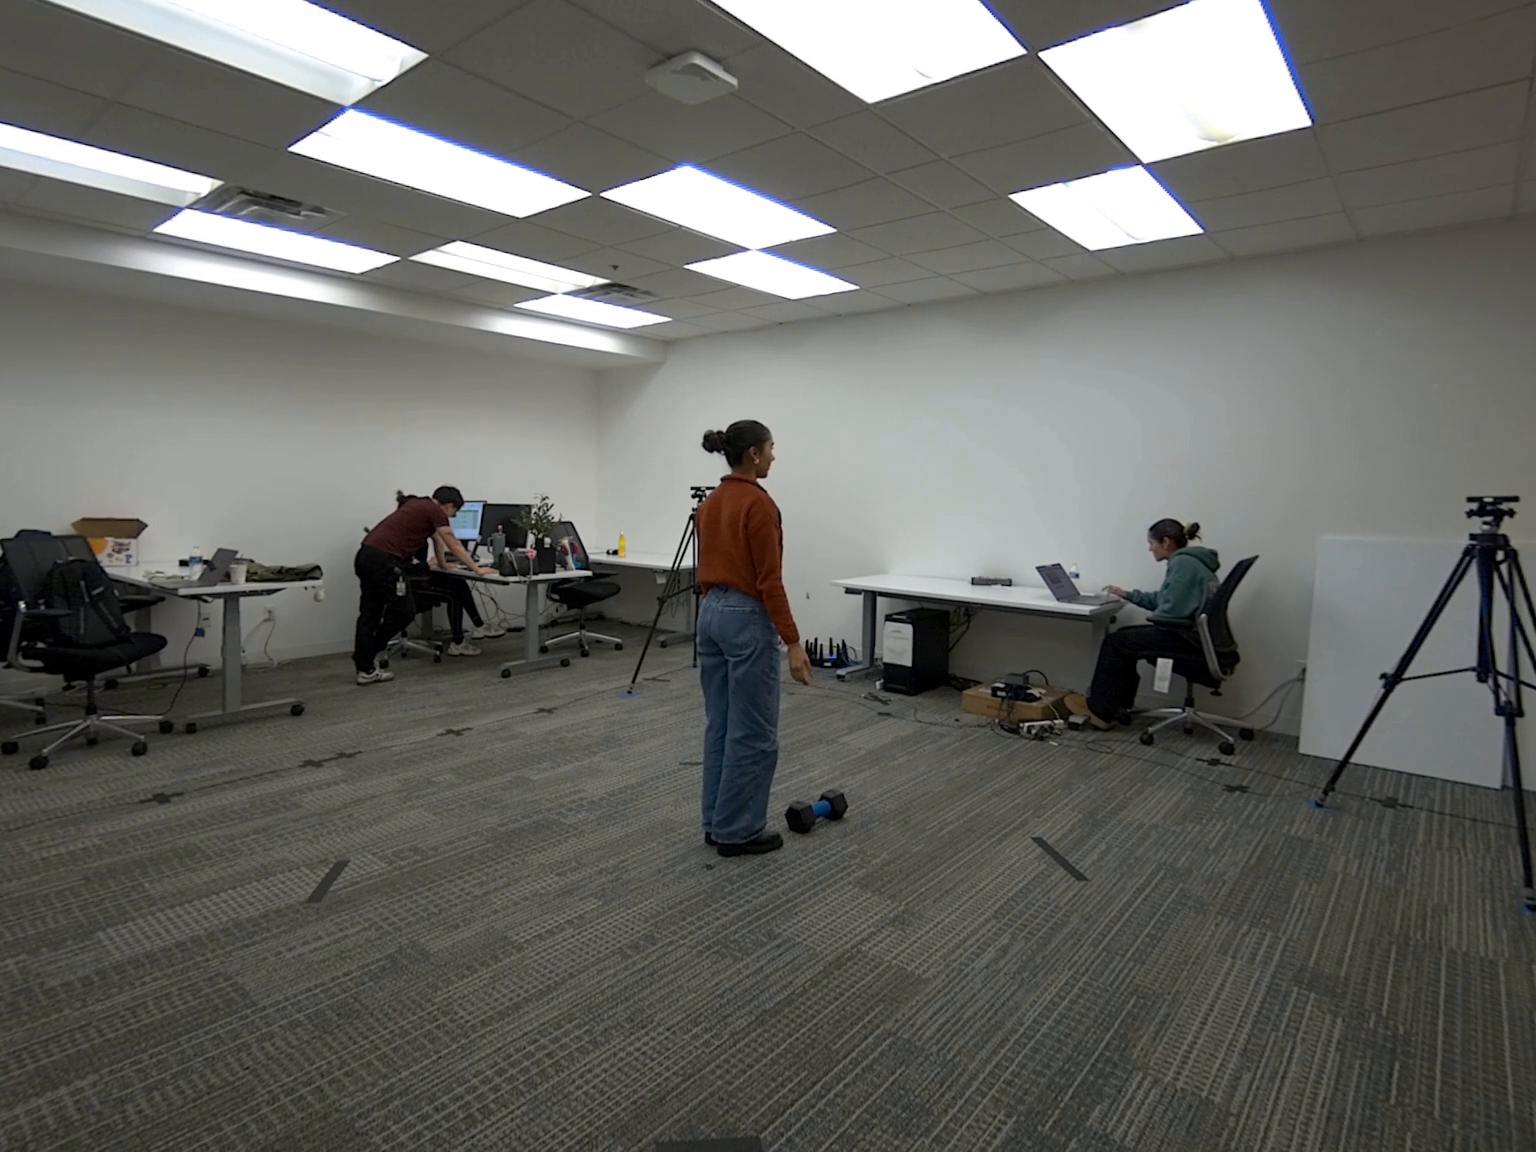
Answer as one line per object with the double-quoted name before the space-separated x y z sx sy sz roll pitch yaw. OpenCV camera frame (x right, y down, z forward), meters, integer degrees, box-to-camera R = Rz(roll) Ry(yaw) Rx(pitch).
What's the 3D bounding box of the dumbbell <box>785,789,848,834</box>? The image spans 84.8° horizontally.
"dumbbell" 0.197 0.975 3.547 0.285 0.126 0.109 -5 -24 -45
